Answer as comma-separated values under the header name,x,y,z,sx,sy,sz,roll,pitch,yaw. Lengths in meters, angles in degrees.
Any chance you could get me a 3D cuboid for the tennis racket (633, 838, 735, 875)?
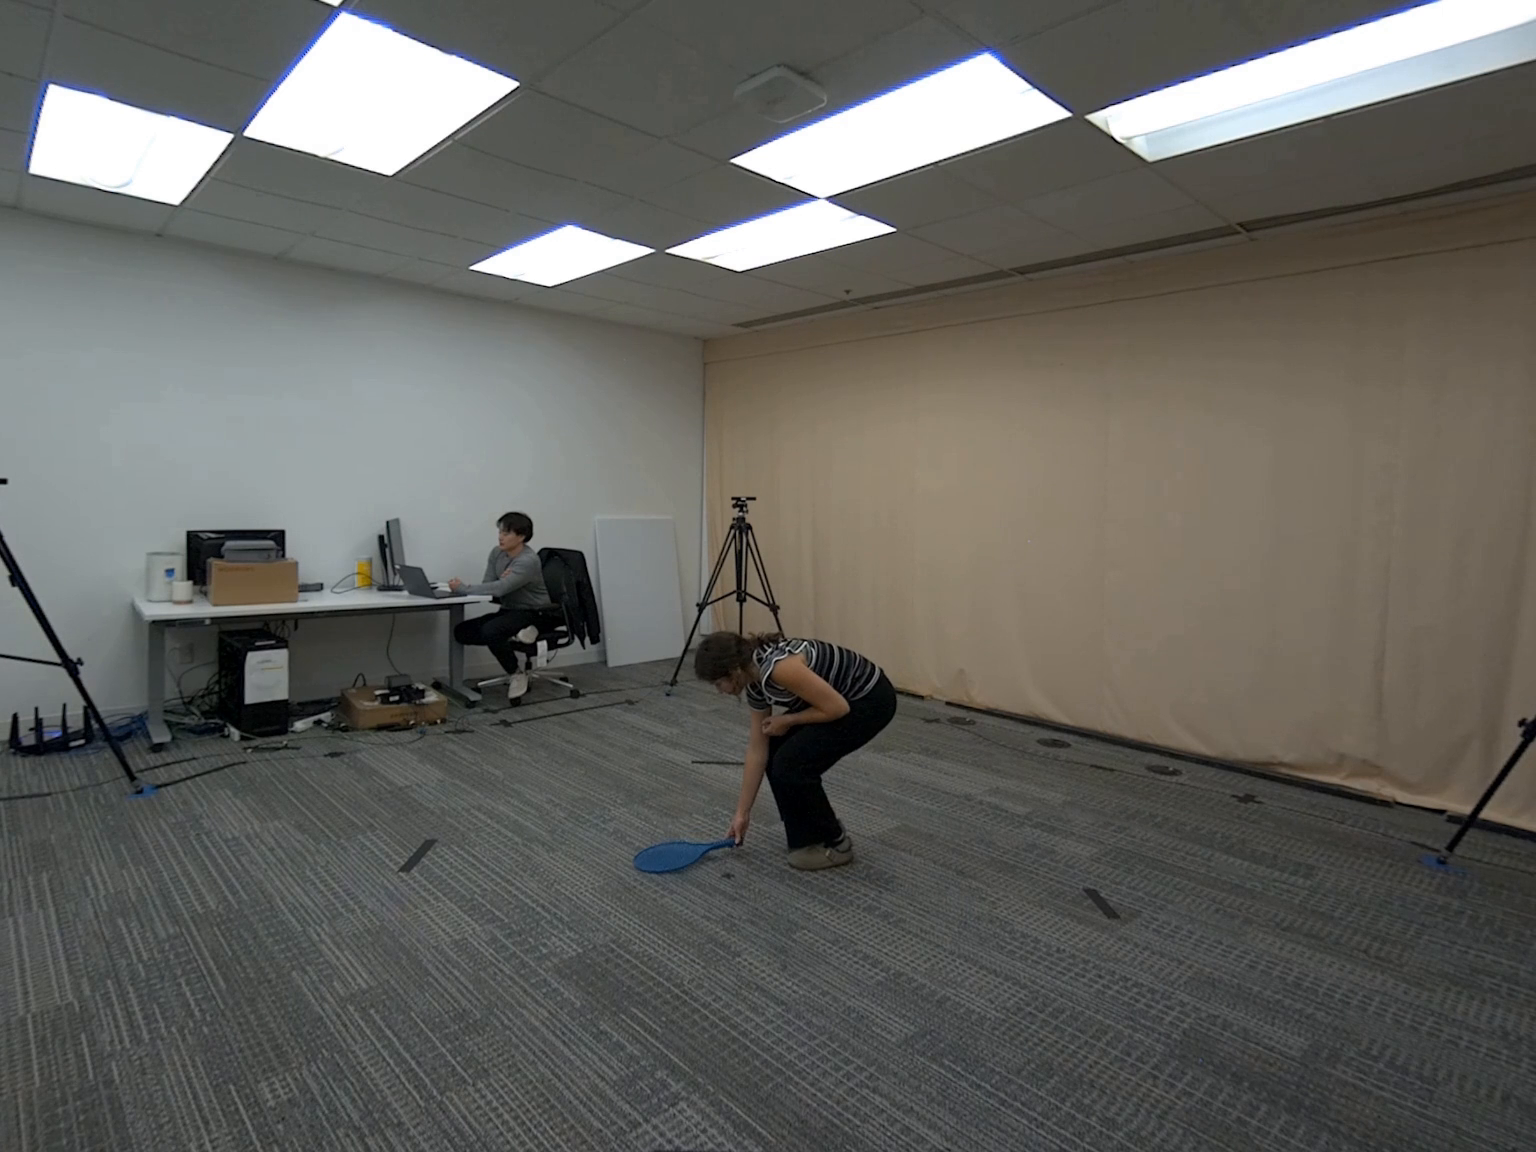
name,x,y,z,sx,sy,sz,roll,pitch,yaw
tennis racket,-0.311,1.058,3.220,0.429,0.031,0.217,-6,9,-13
